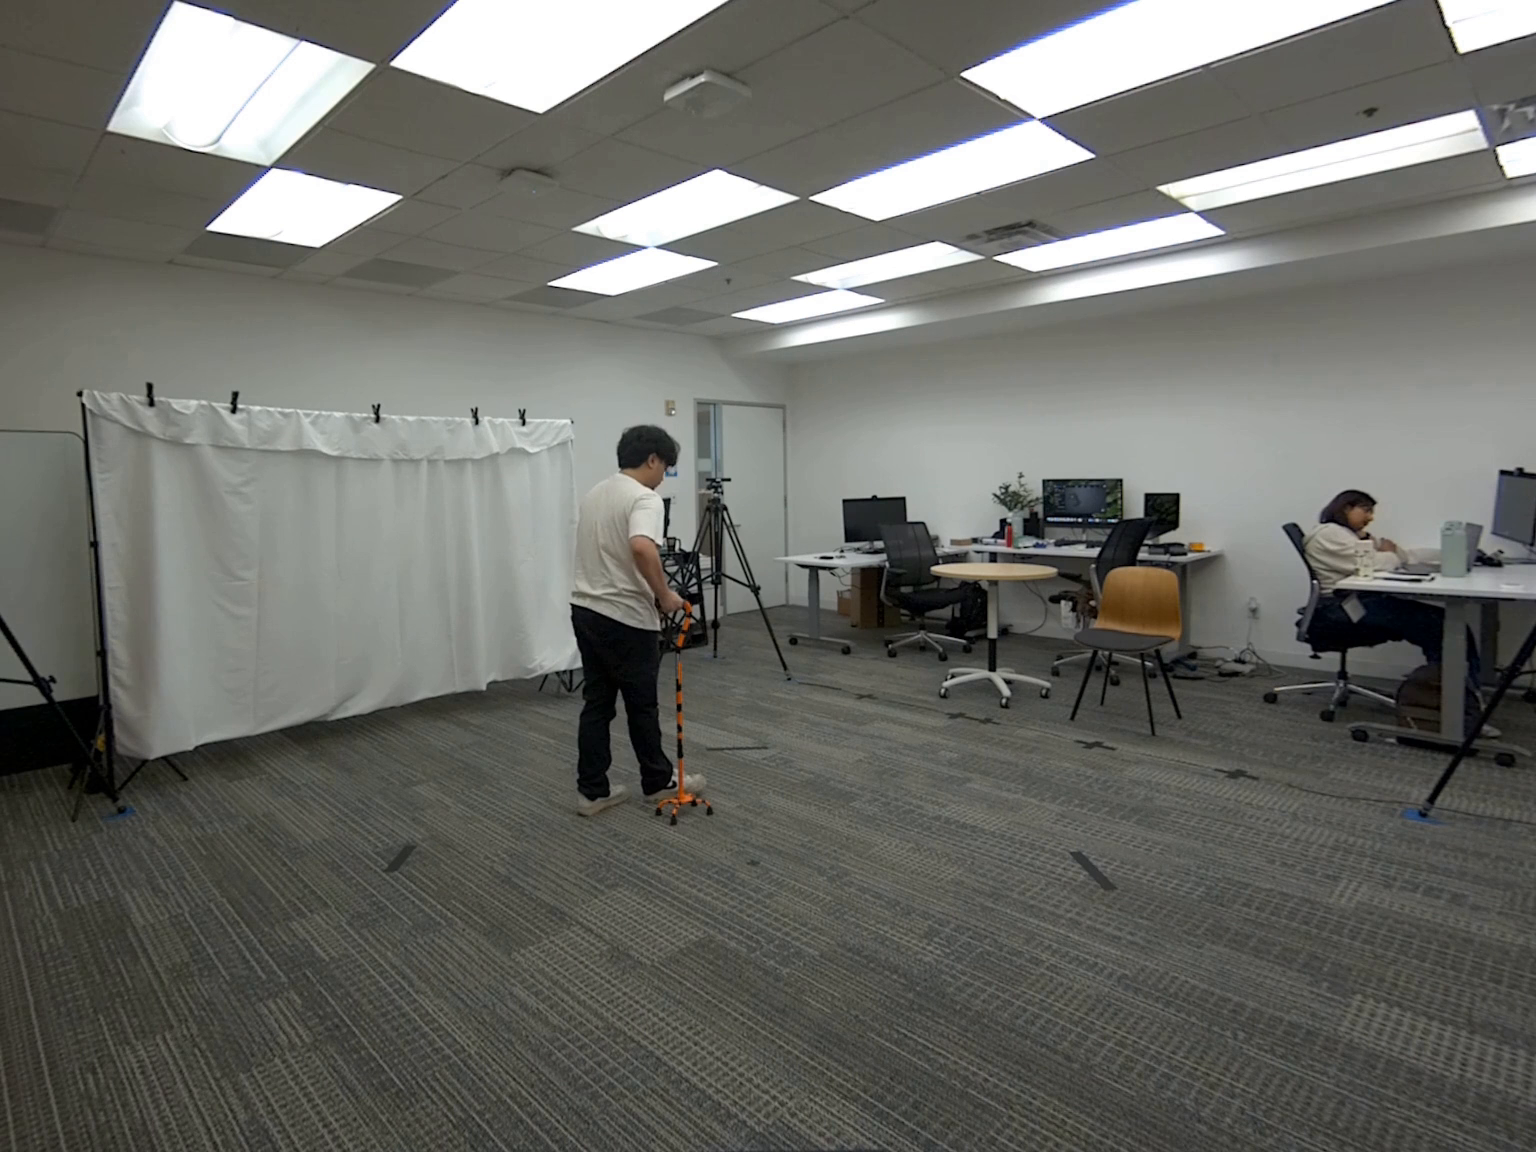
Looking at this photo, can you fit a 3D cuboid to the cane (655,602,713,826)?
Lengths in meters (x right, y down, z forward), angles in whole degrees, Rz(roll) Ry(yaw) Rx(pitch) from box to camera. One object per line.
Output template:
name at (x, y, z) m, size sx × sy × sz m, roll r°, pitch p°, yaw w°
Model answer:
cane at (-0.350, 0.546, 3.542) m, size 0.201 × 0.905 × 0.156 m, roll -2°, pitch 4°, yaw -34°
